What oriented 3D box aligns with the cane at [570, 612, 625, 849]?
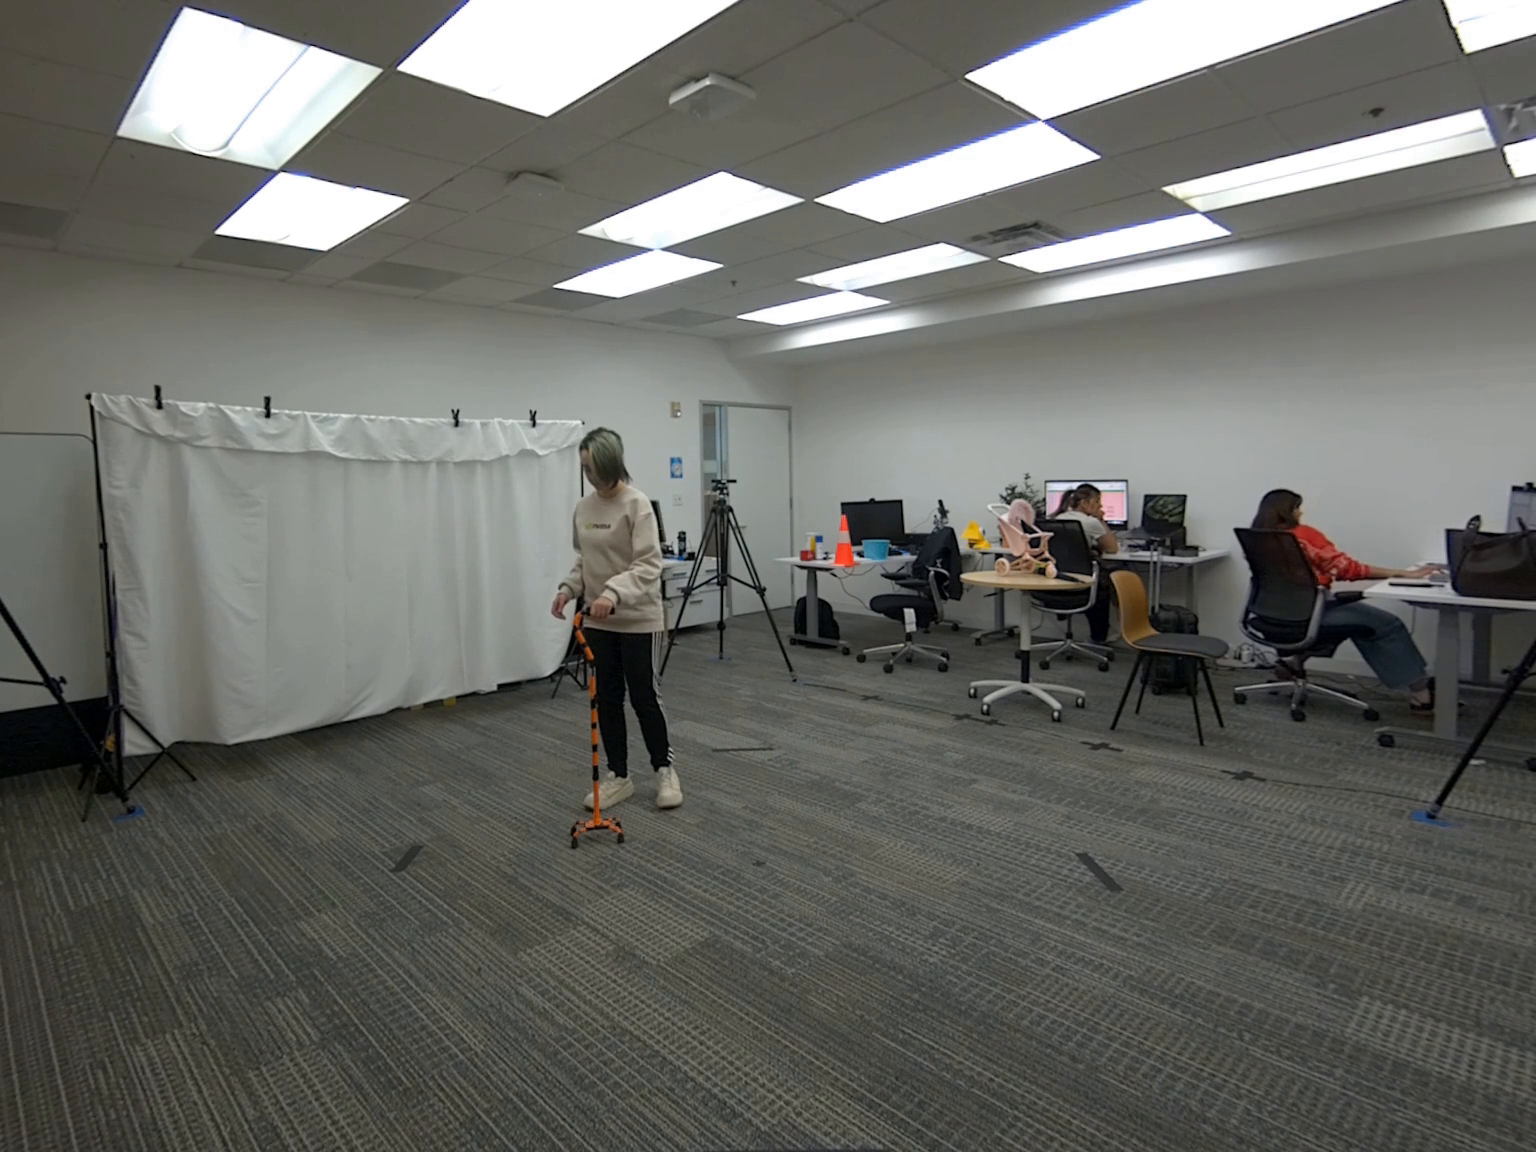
[{"bbox_3d":[-0.687,0.575,3.346,0.203,0.906,0.154,-2,2,-16],"label":"cane"}]
